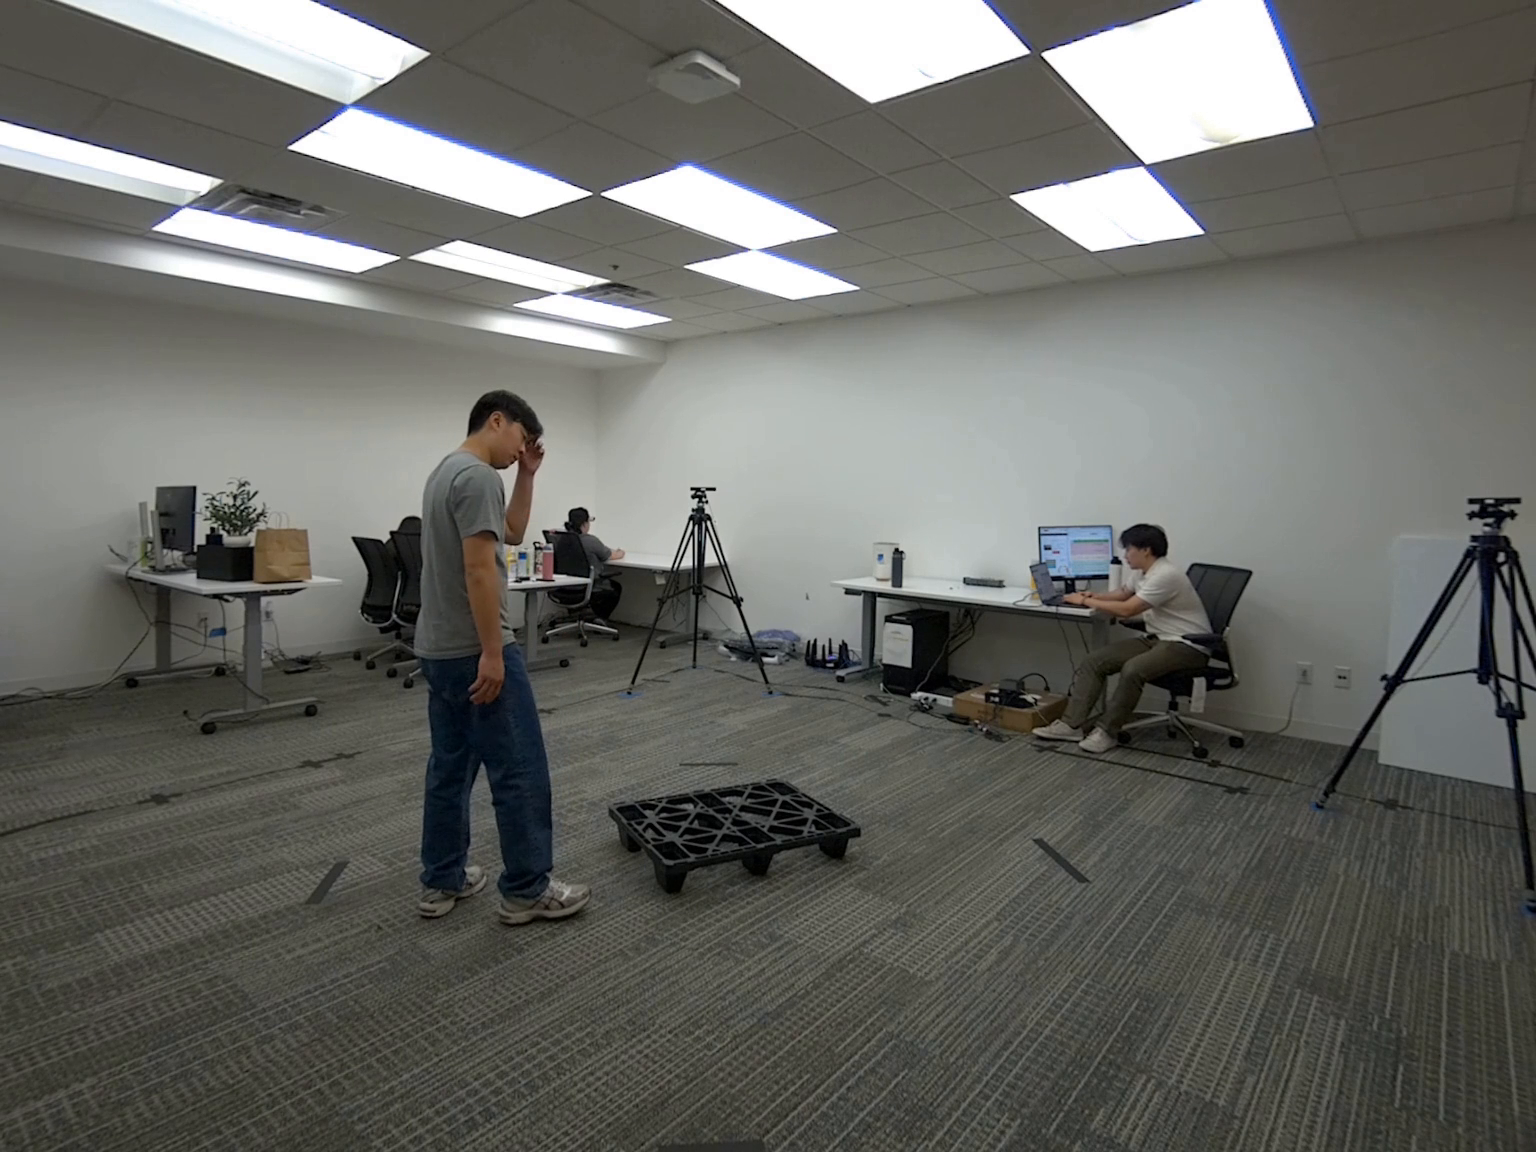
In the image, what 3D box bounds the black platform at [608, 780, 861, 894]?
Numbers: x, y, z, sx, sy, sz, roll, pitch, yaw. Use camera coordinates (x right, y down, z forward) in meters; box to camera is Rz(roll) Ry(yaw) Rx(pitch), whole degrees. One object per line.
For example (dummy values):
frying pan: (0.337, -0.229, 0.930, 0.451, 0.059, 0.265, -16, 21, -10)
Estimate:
black platform: (-0.144, 0.983, 3.268, 0.785, 0.142, 0.623, -2, 7, -28)
